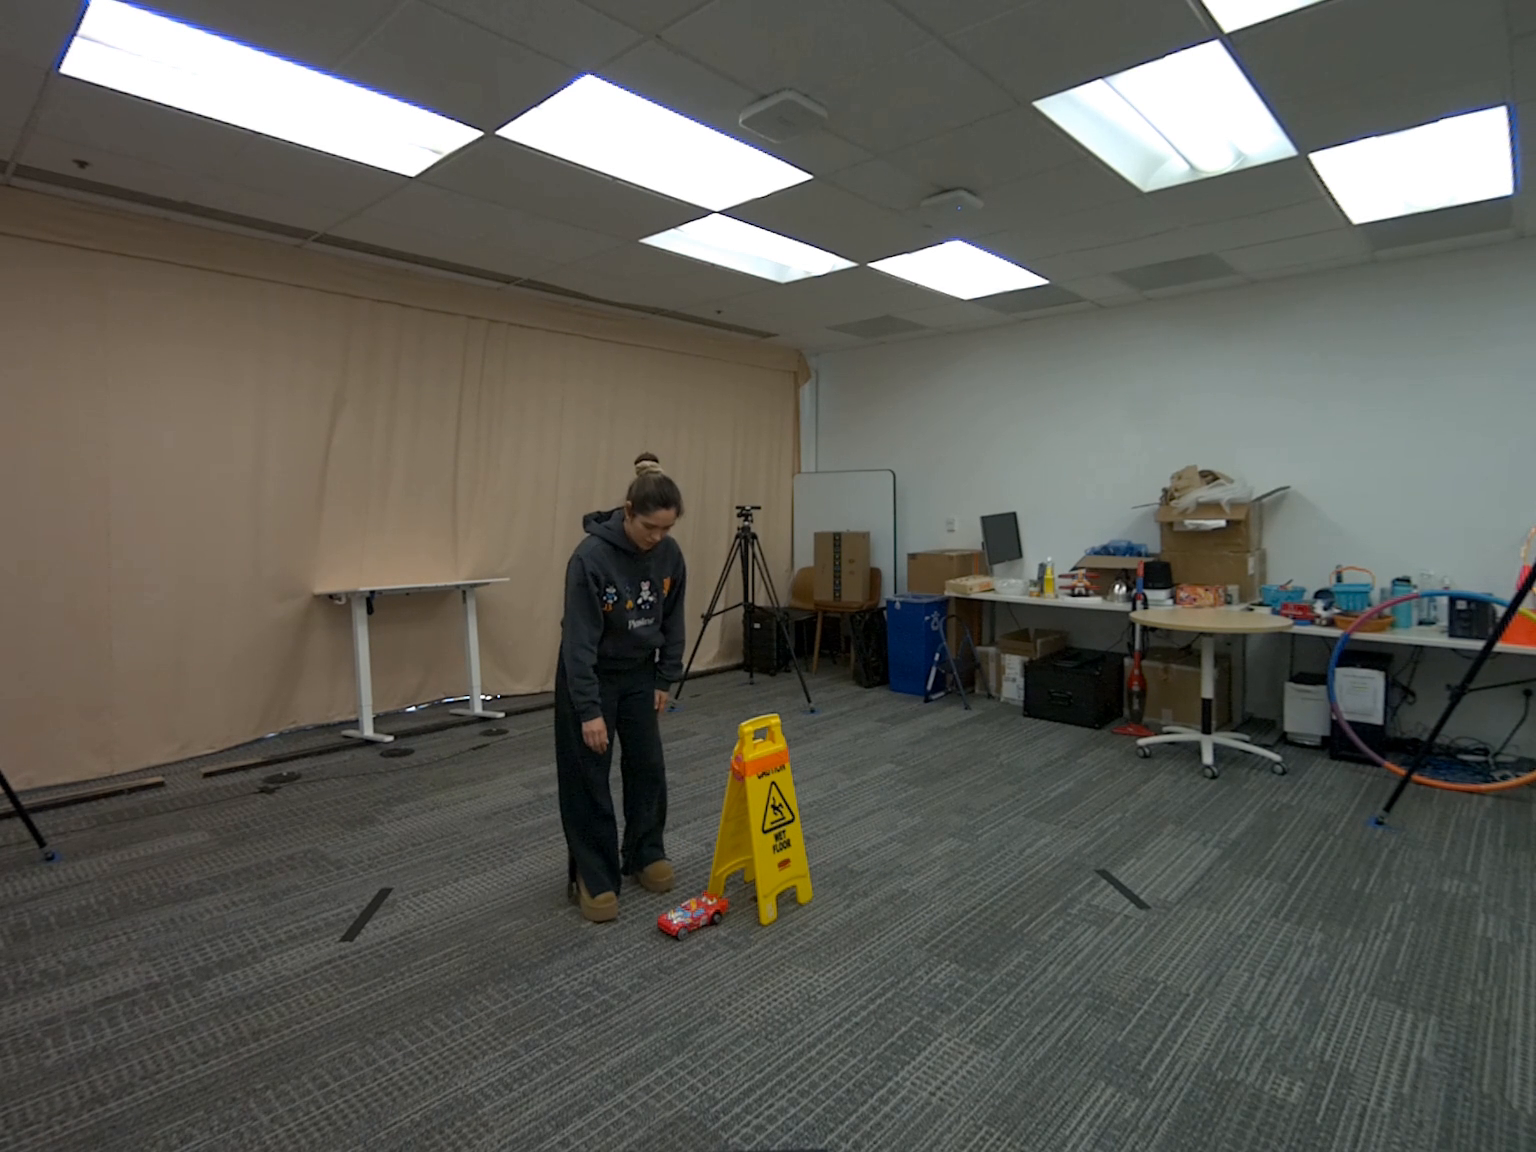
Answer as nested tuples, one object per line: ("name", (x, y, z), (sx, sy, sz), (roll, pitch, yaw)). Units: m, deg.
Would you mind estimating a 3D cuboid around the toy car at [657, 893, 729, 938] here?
("toy car", (-0.226, 1.136, 2.797), (0.248, 0.082, 0.134), (-20, 15, -40))
